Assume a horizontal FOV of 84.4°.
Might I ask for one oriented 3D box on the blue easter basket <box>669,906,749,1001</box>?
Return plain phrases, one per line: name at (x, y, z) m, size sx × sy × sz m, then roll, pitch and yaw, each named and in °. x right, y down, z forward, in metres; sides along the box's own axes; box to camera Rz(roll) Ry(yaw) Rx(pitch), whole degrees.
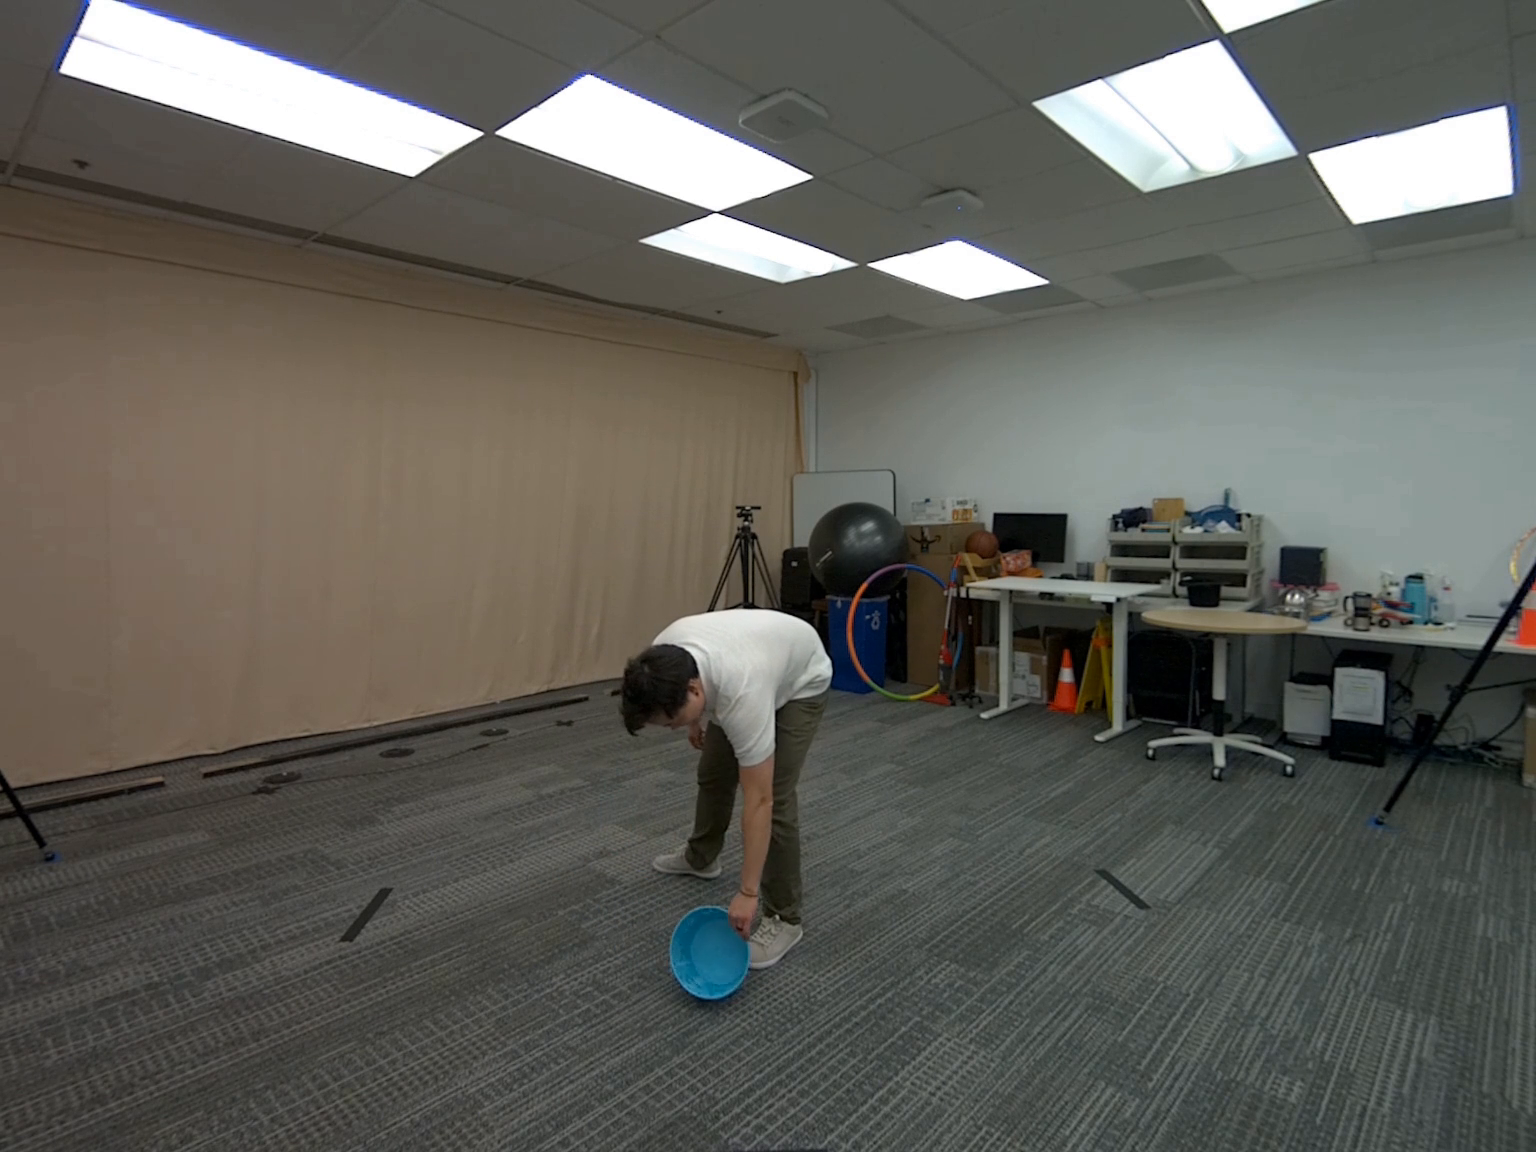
blue easter basket at (-0.152, 1.077, 2.419) m, size 0.247 × 0.246 × 0.152 m, roll 1°, pitch -23°, yaw 15°
